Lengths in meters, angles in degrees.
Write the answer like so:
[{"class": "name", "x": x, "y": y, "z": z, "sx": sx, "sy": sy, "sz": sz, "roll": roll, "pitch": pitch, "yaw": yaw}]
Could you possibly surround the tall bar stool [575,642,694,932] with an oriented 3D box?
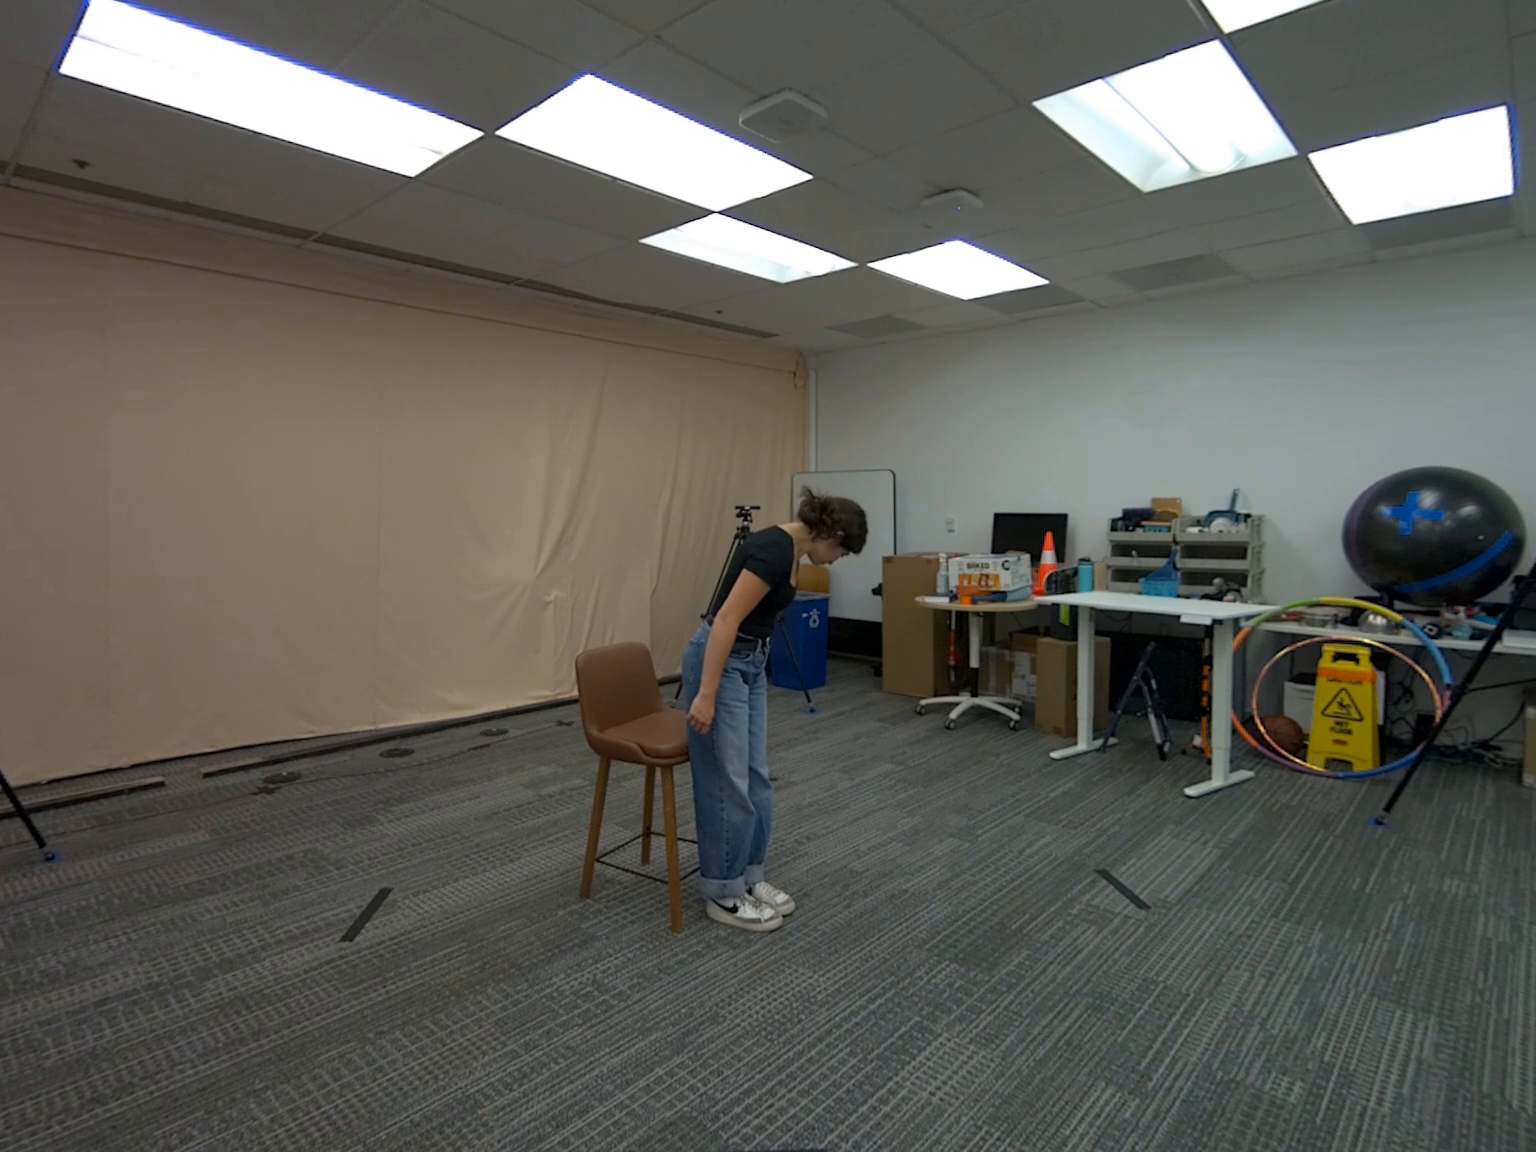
[{"class": "tall bar stool", "x": -0.396, "y": 0.713, "z": 3.019, "sx": 0.481, "sy": 0.889, "sz": 0.444, "roll": 0, "pitch": 2, "yaw": 33}]
